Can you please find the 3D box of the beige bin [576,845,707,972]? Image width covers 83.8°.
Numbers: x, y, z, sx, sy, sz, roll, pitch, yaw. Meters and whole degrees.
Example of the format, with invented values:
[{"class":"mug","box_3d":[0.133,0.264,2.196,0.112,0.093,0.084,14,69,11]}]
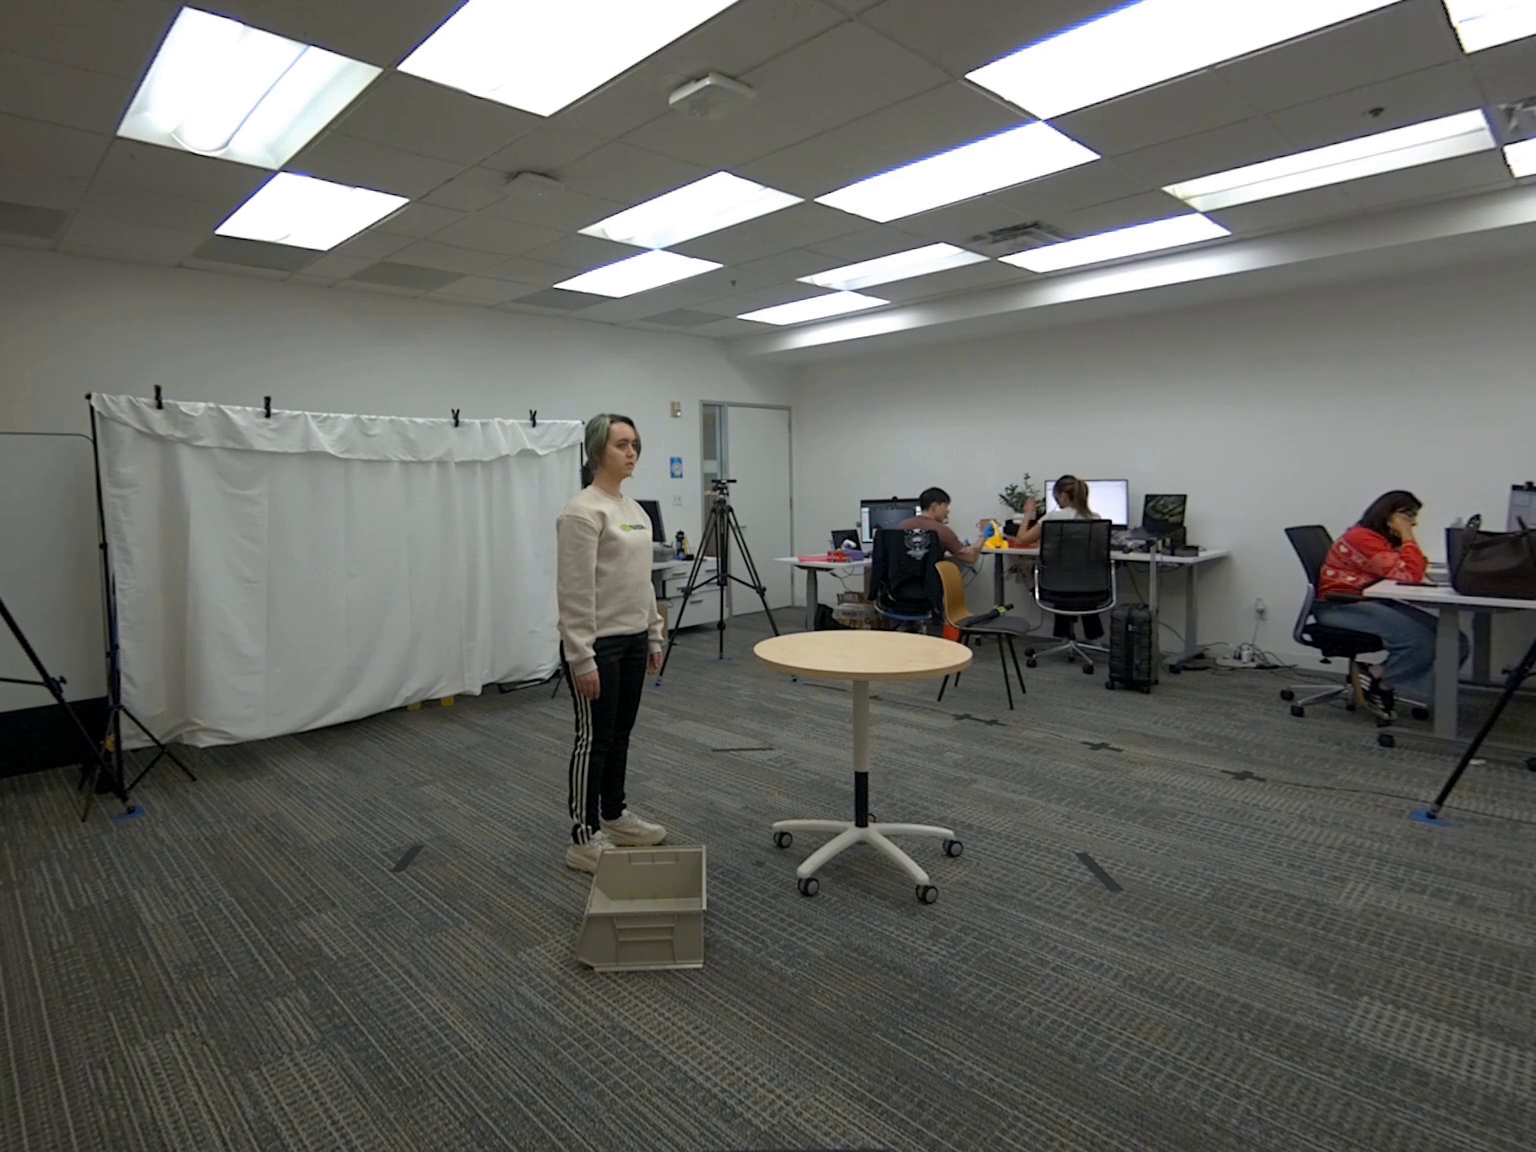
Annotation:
[{"class":"beige bin","box_3d":[-0.376,1.022,2.641,0.376,0.188,0.425,-1,6,-4]}]
